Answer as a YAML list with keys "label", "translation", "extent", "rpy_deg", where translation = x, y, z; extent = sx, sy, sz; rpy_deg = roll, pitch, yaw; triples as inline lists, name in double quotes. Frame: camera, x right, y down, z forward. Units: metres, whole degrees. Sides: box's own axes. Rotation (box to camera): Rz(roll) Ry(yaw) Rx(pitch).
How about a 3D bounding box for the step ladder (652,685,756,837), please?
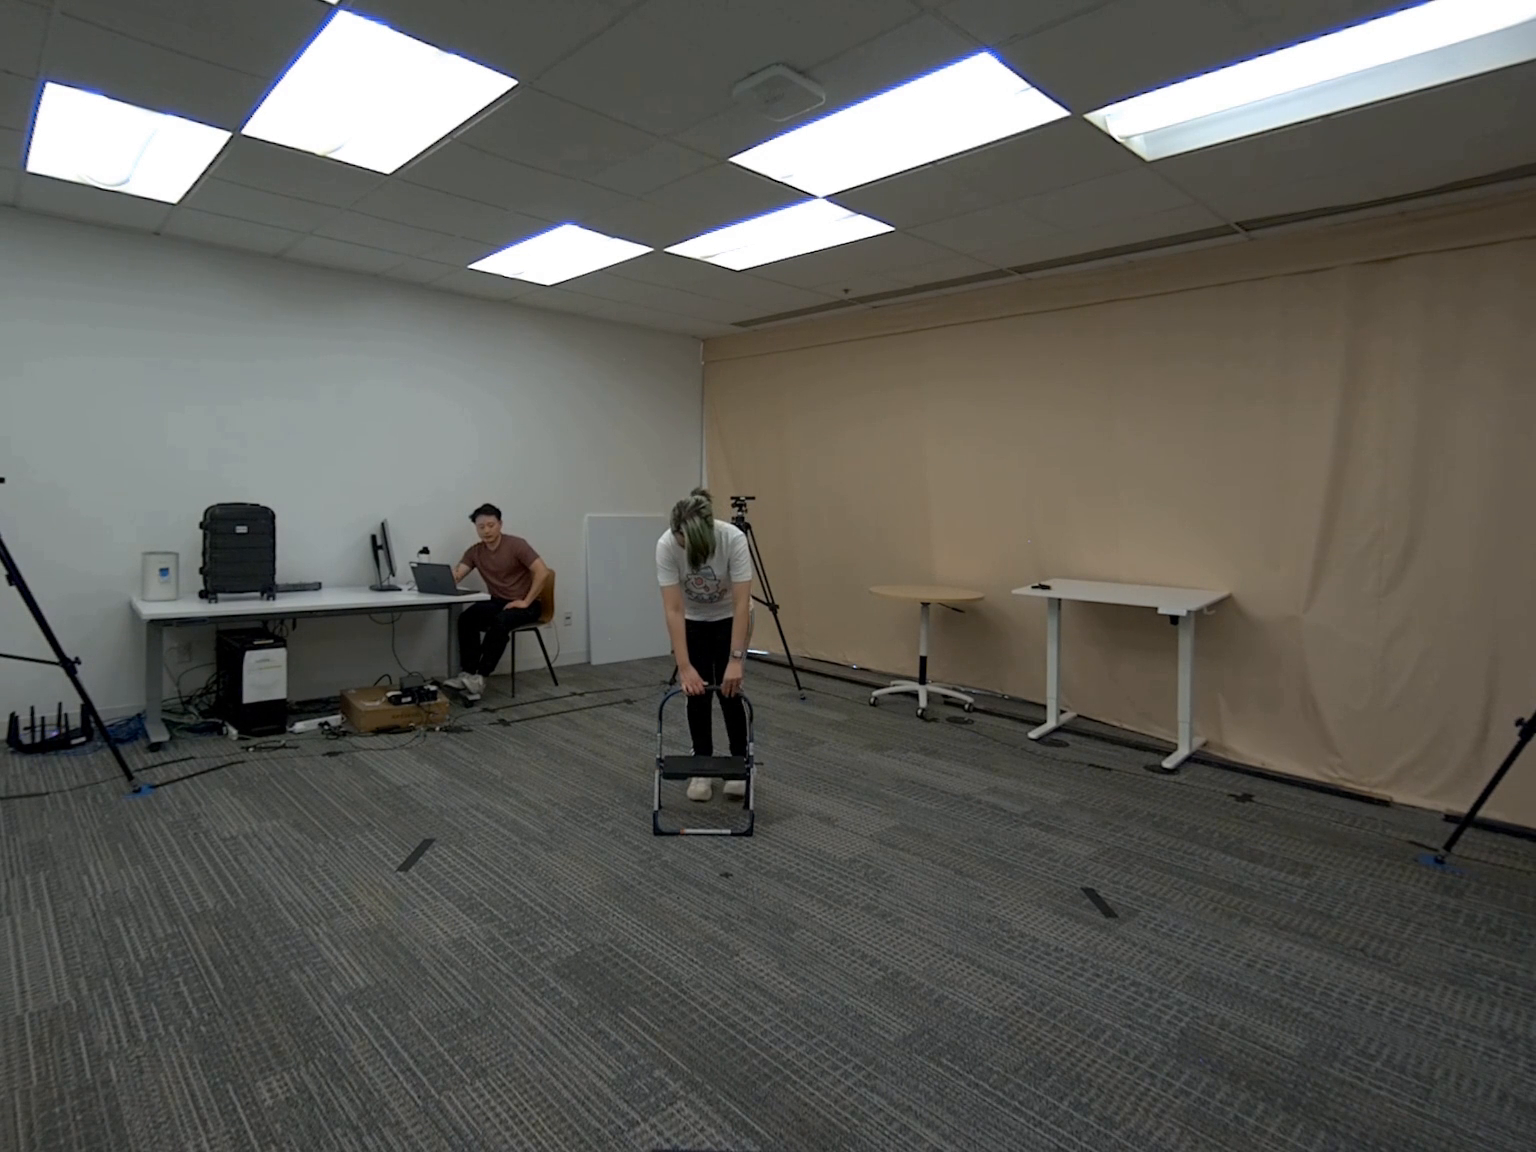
- label: "step ladder"
  translation: [-0.286, 0.761, 3.614]
  extent: [0.429, 0.605, 0.351]
  rpy_deg: [2, 3, -4]
